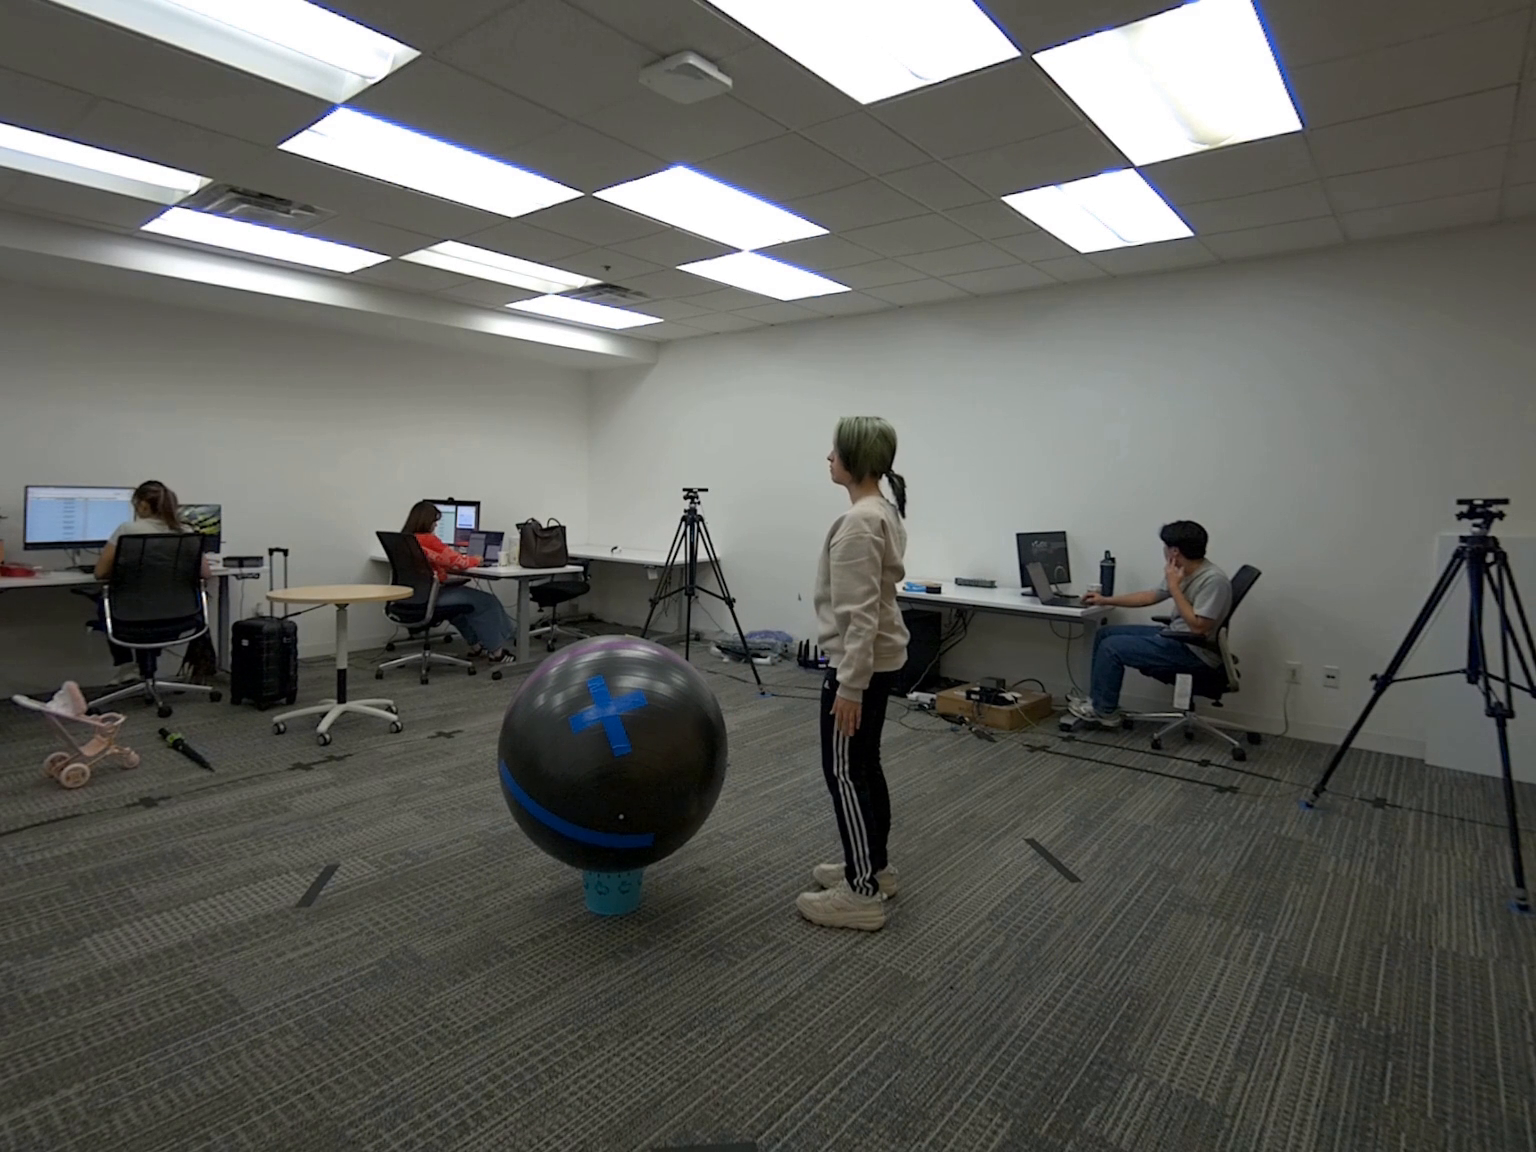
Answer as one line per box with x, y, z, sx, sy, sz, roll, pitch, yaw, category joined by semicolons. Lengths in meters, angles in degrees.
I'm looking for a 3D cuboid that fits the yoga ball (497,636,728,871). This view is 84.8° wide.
-0.520;0.579;2.833;0.757;0.756;0.761;1;4;-2;yoga ball
